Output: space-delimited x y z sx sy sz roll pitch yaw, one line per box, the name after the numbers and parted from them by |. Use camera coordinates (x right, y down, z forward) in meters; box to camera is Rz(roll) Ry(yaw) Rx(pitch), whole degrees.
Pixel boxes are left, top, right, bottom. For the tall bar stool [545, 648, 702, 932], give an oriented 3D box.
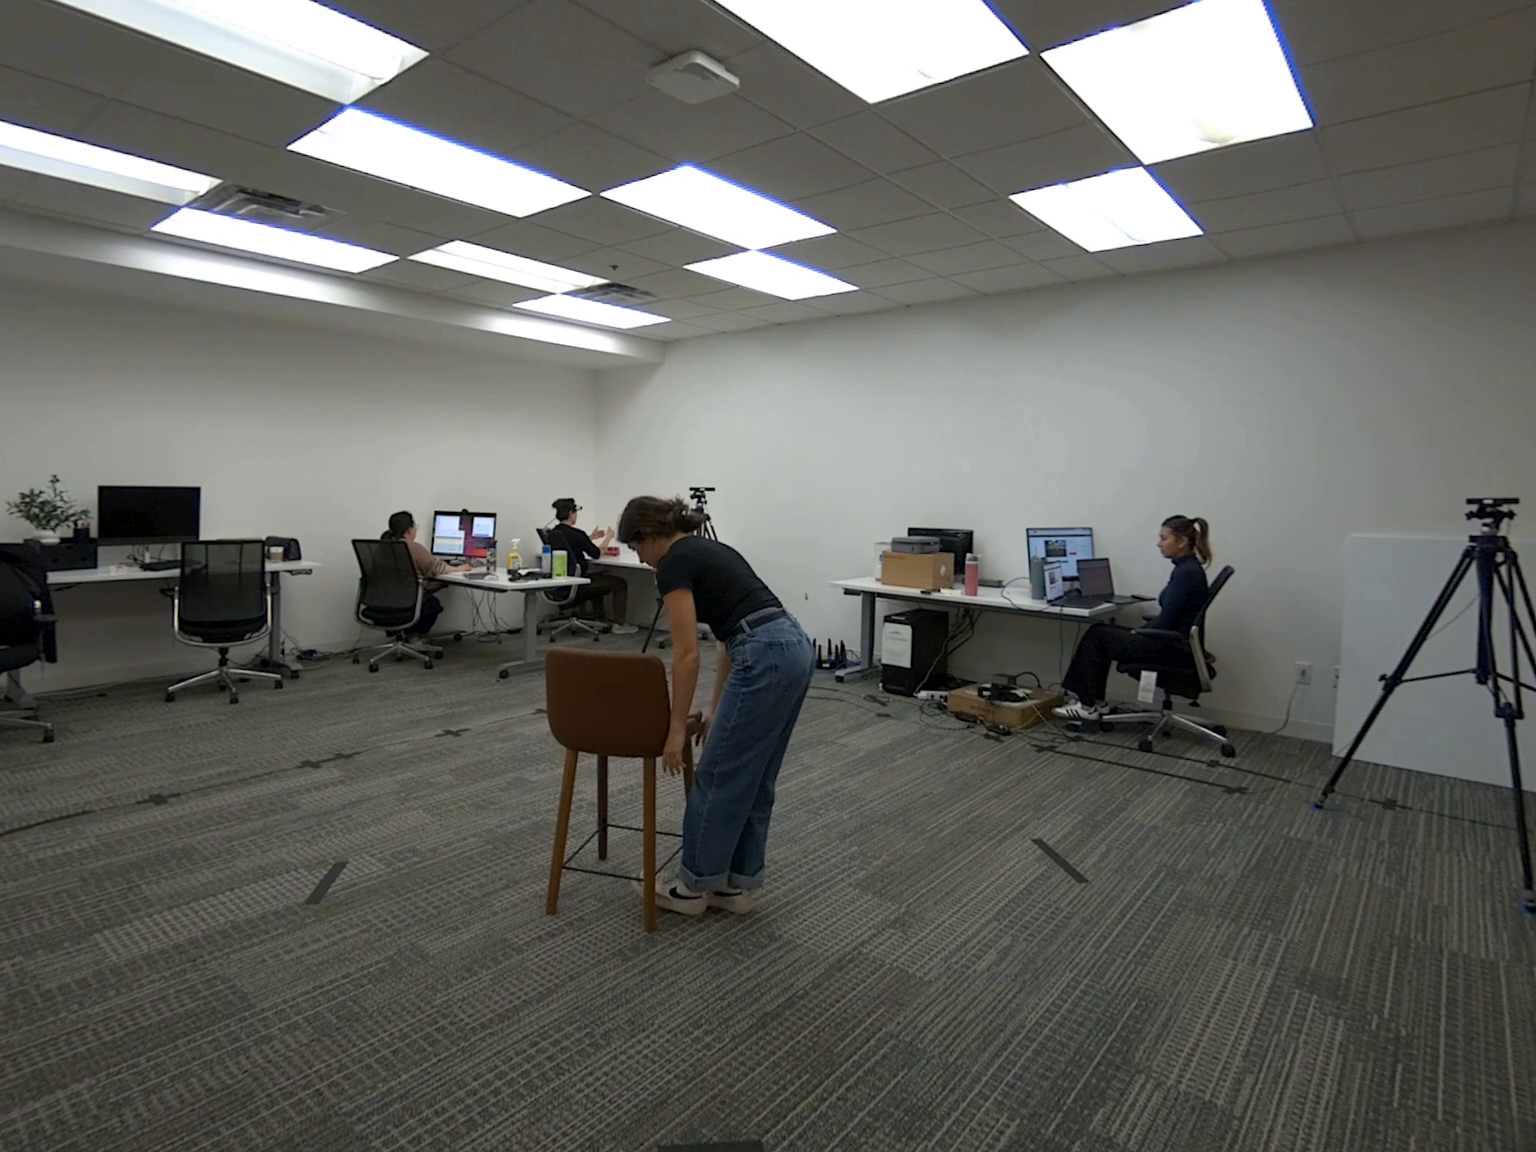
-0.498 0.651 2.893 0.465 0.887 0.460 1 4 17 | tall bar stool
